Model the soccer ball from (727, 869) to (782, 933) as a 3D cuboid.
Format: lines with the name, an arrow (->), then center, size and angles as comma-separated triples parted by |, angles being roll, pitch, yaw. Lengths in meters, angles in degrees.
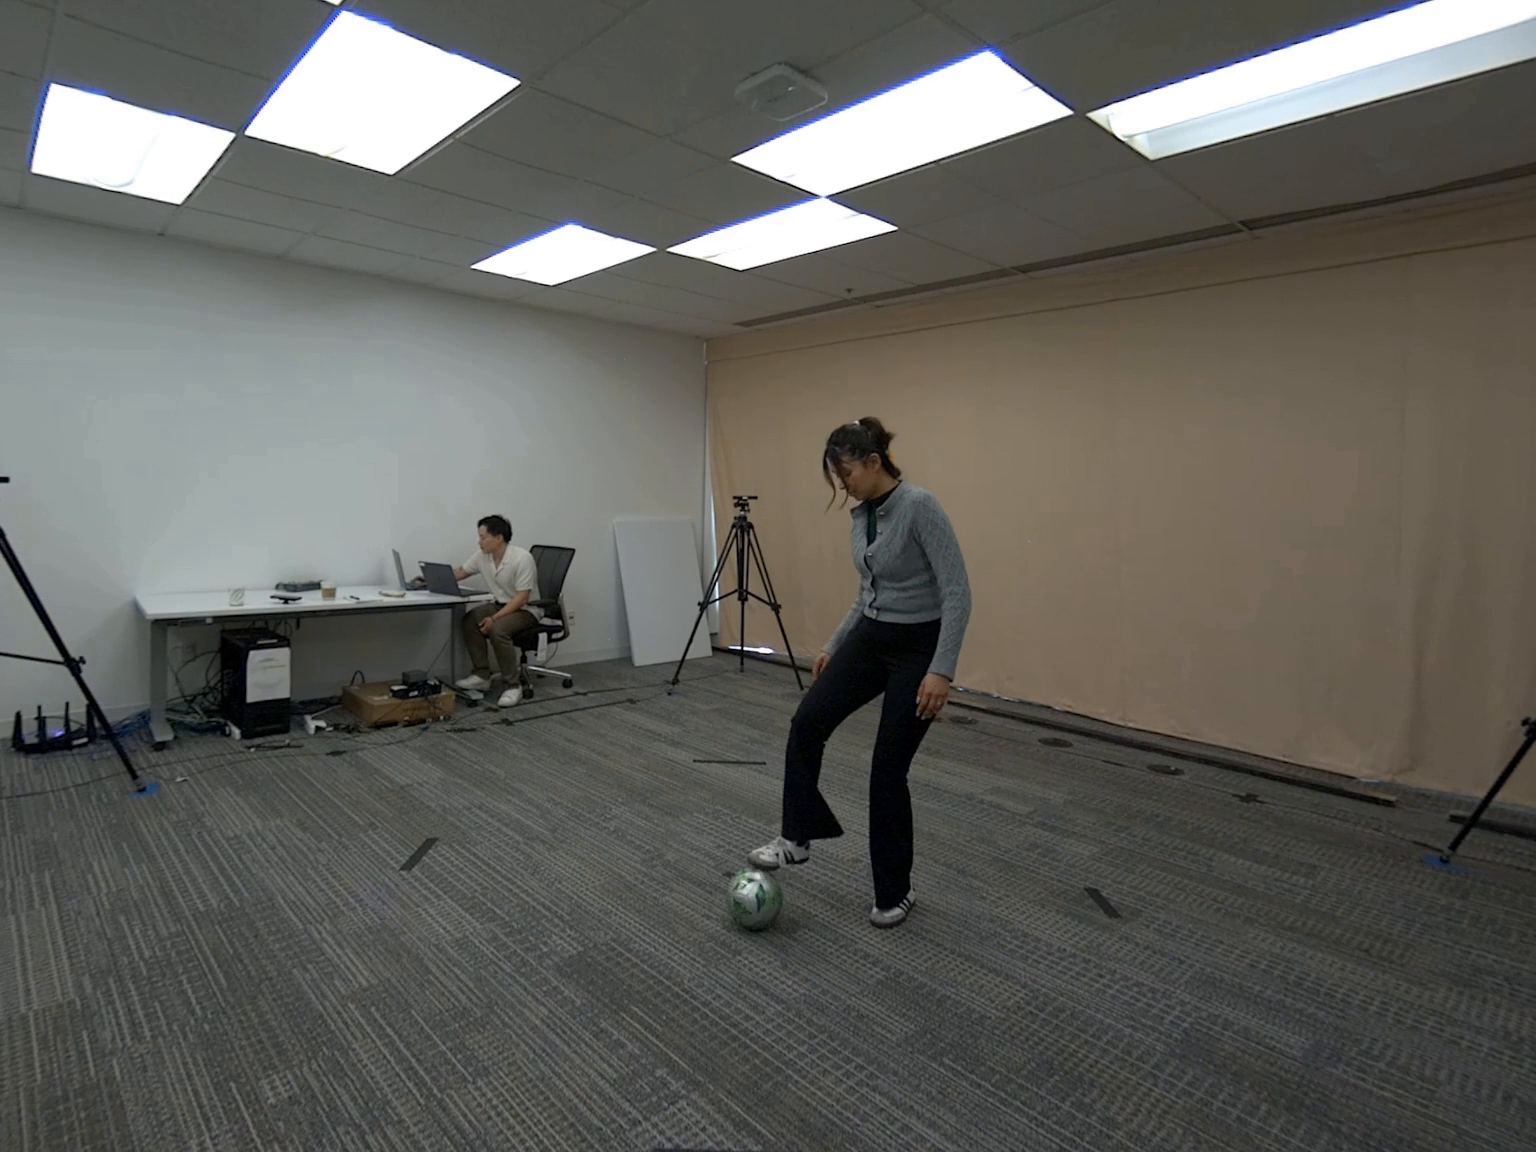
soccer ball -> -0.052, 1.040, 2.732 | 0.187, 0.187, 0.188 | 1, 4, -1
